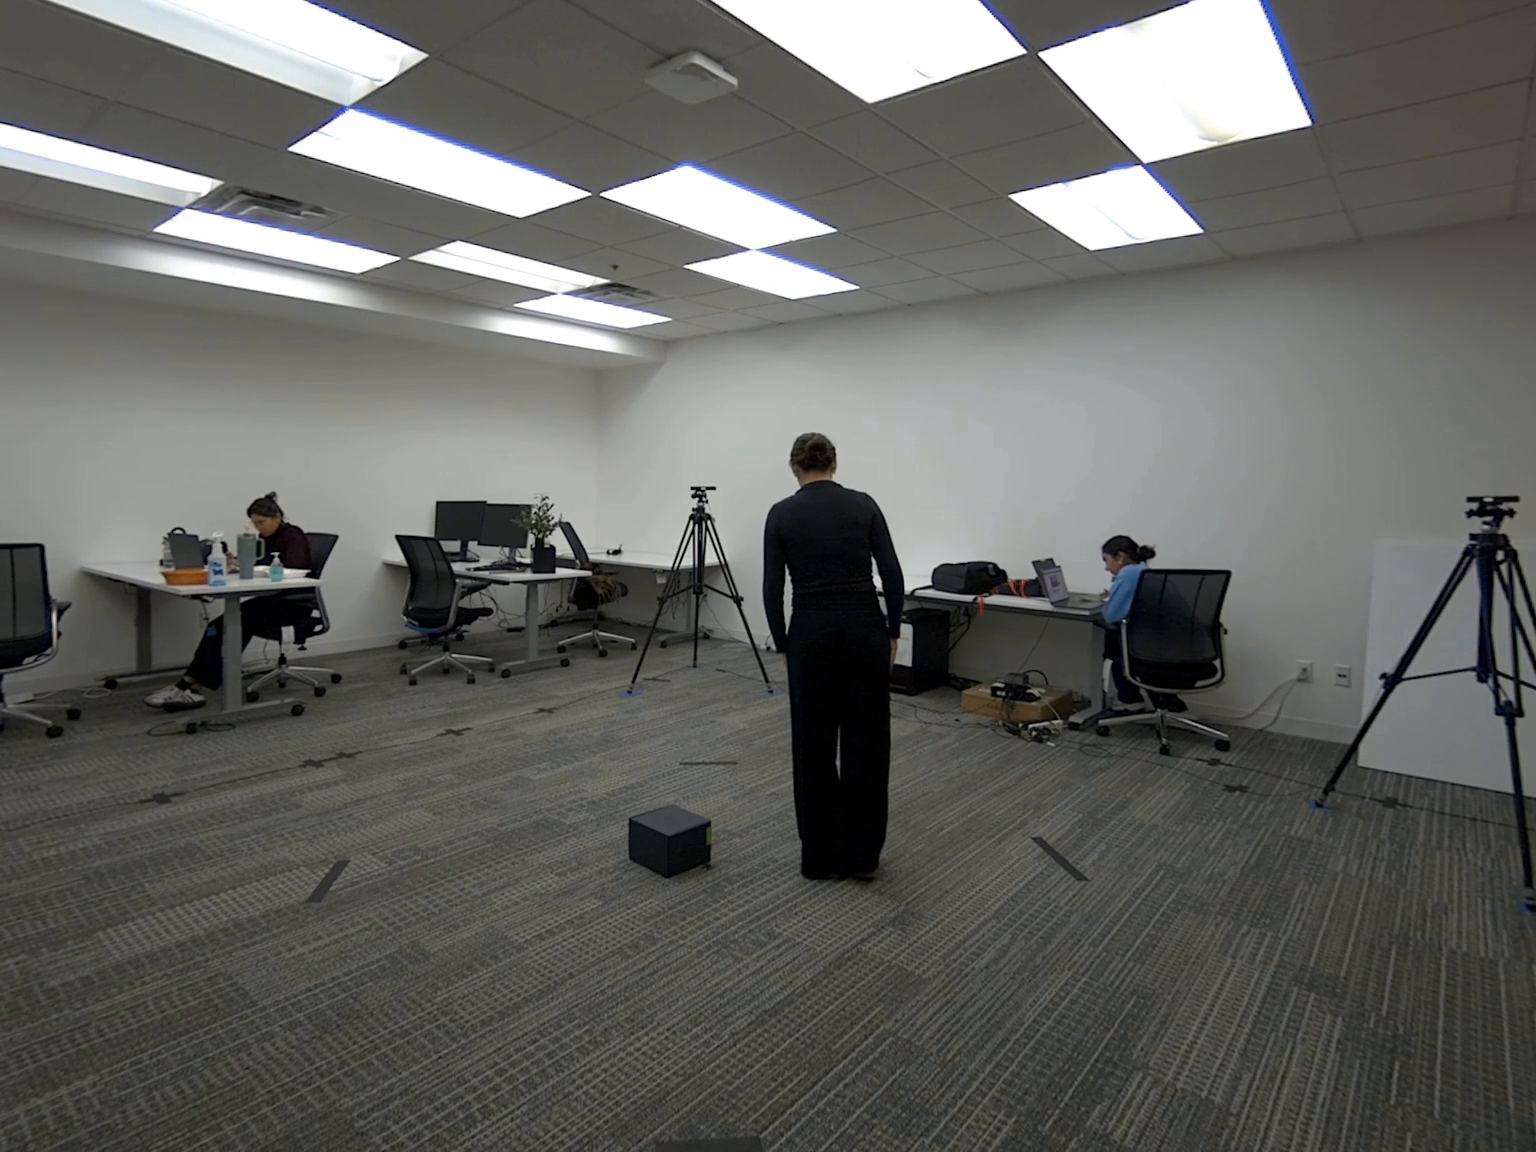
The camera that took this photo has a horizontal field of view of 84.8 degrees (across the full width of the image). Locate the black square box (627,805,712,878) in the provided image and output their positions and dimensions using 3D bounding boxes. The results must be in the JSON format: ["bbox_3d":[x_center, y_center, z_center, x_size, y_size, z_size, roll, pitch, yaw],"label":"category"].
[{"bbox_3d":[-0.375,0.976,3.166,0.235,0.155,0.210,4,5,43],"label":"black square box"}]
